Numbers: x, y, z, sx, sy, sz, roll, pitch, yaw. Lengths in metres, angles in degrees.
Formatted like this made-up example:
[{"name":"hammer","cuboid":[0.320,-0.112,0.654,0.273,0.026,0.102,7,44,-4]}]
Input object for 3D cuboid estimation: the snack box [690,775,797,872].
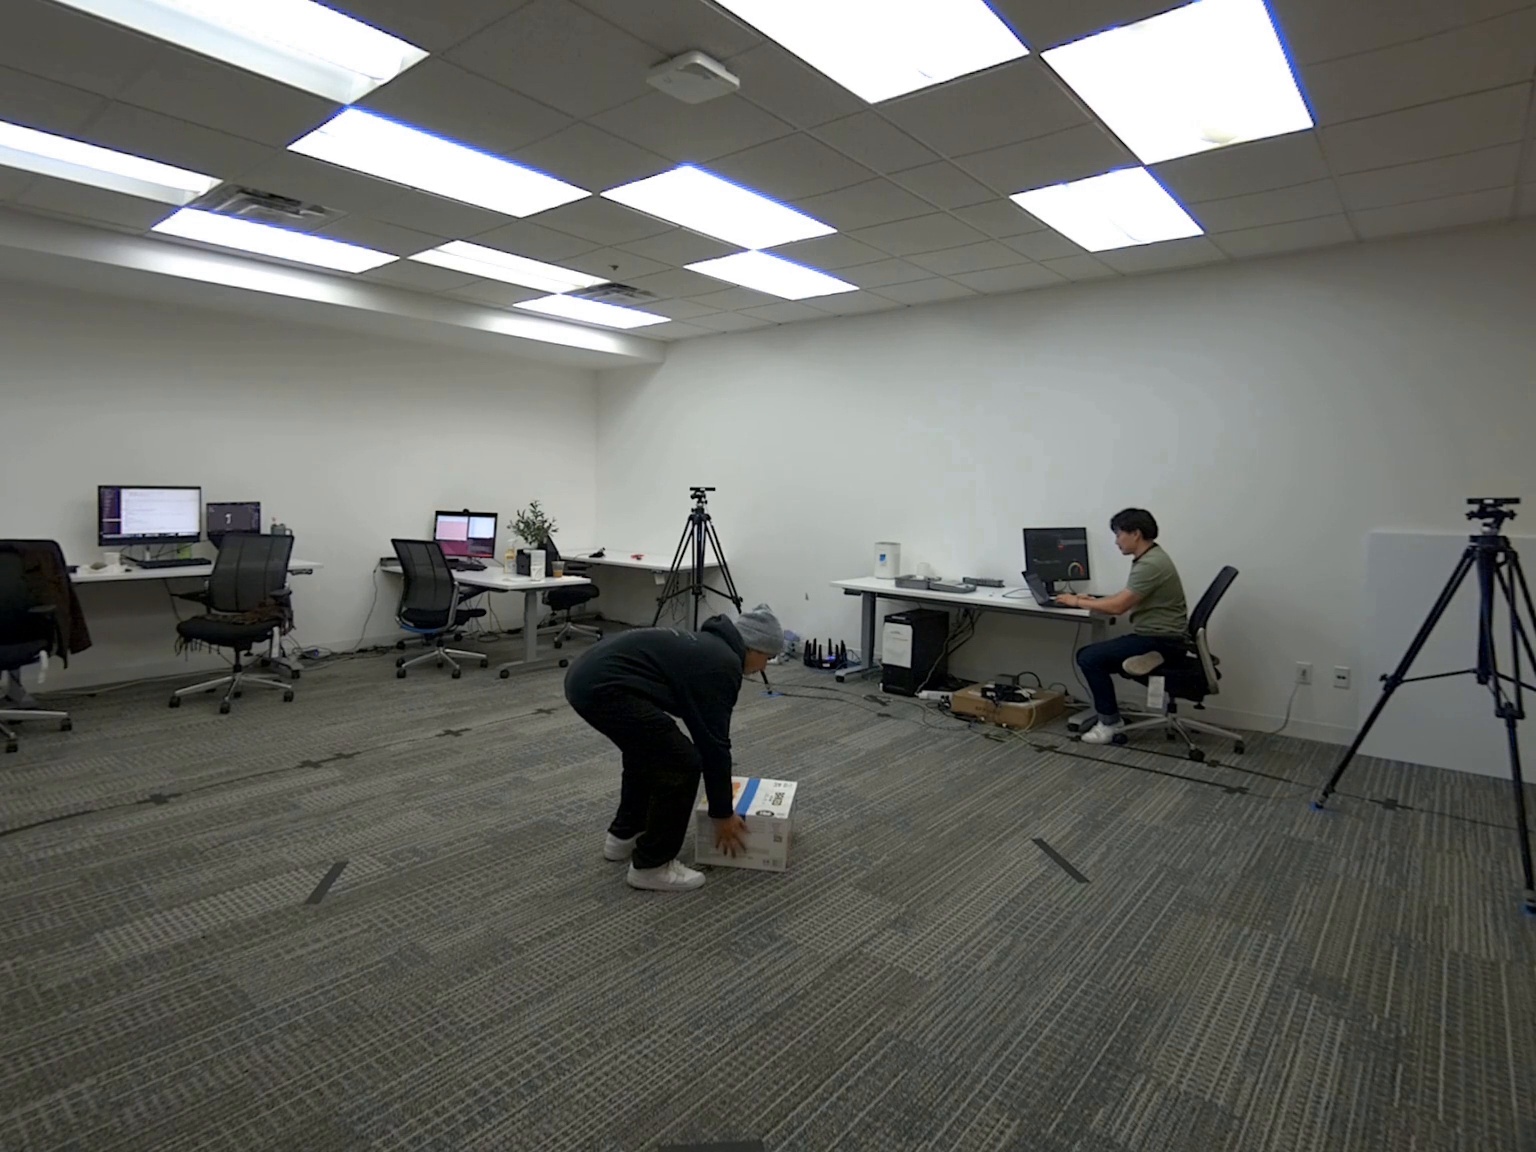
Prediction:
[{"name":"snack box","cuboid":[-0.084,0.948,3.302,0.344,0.205,0.402,1,5,9]}]
